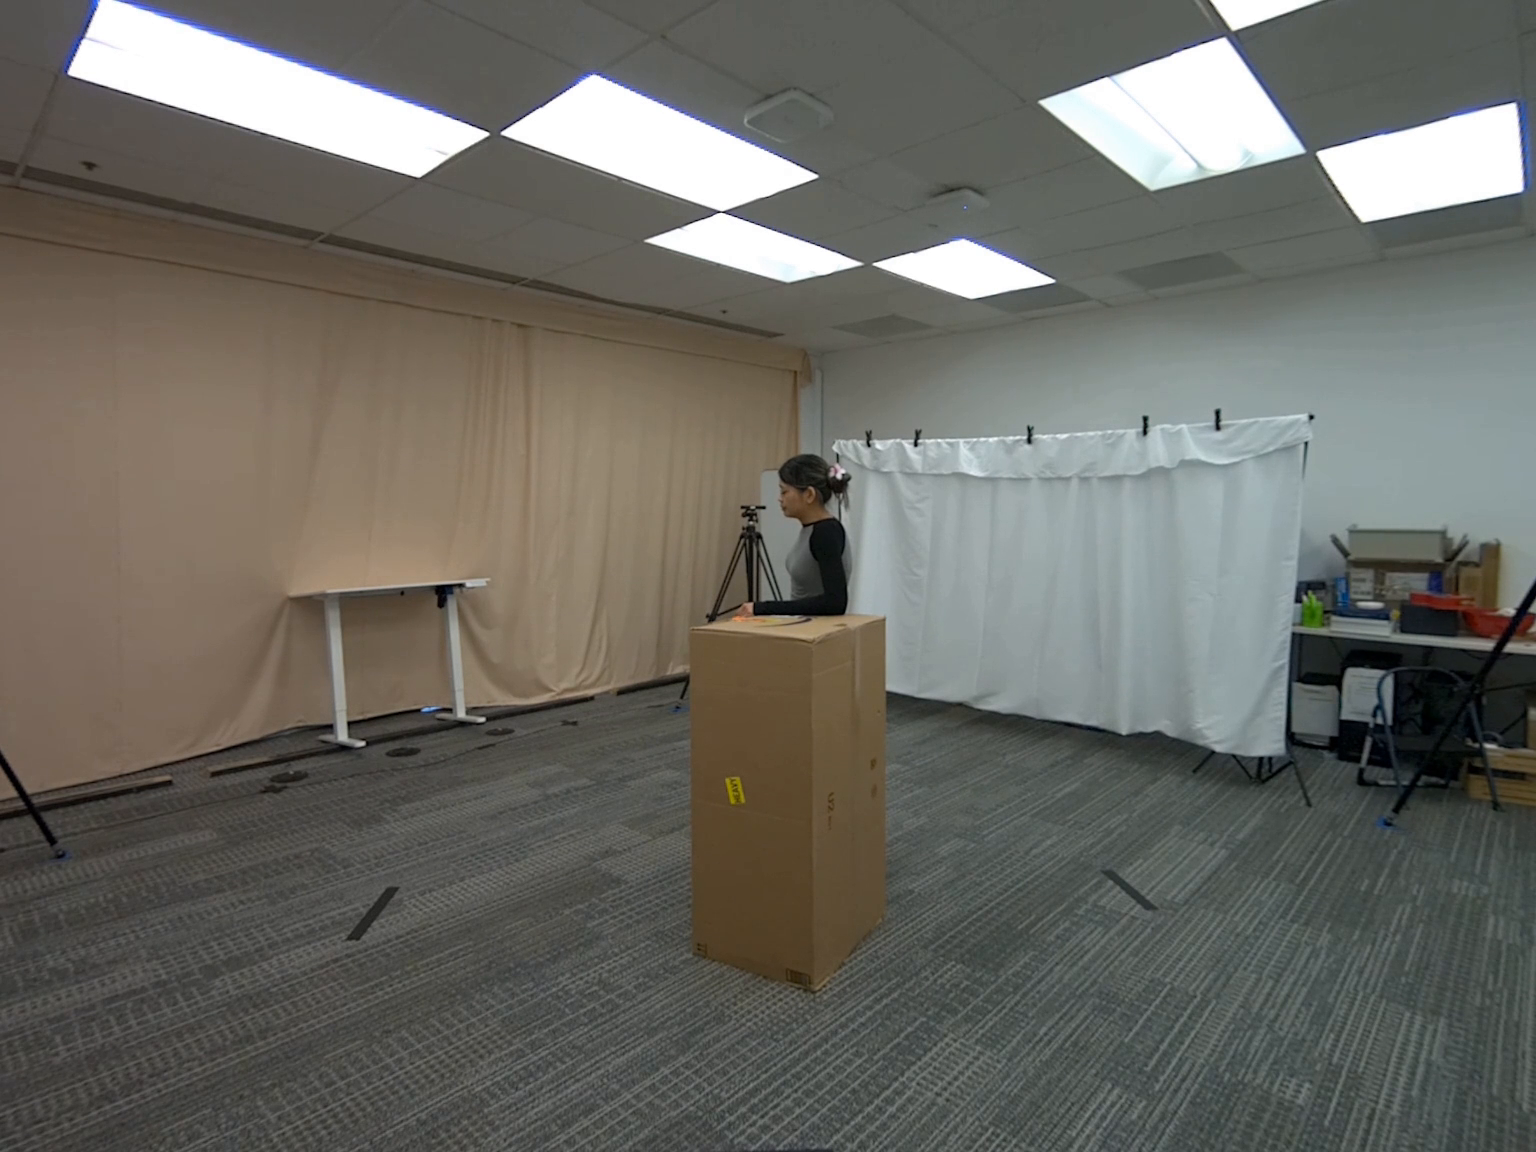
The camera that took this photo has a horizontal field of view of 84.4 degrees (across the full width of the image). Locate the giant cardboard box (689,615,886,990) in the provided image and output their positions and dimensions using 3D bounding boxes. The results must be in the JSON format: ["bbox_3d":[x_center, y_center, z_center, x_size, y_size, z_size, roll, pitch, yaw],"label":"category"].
[{"bbox_3d":[0.083,0.657,2.727,0.439,1.024,0.562,1,3,31],"label":"giant cardboard box"}]
